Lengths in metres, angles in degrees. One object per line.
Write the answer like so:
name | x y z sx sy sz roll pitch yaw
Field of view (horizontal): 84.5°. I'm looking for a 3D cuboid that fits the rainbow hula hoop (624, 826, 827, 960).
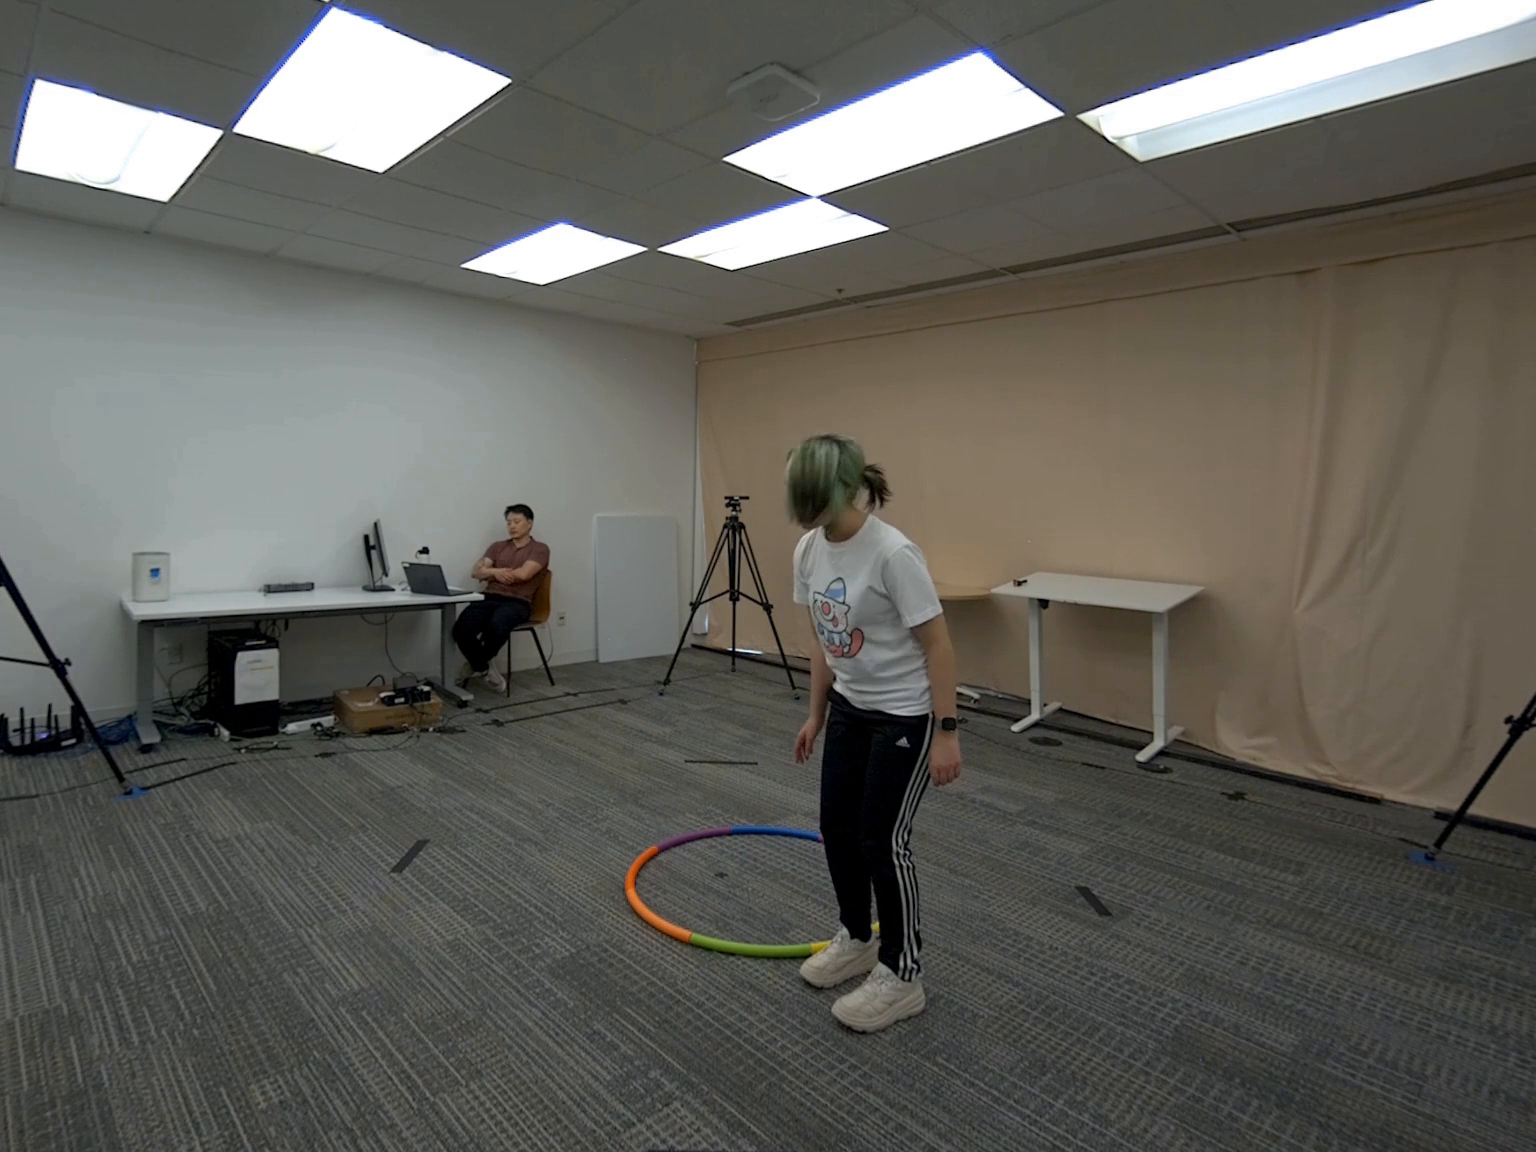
rainbow hula hoop | -0.018 1.082 3.026 0.978 0.035 0.982 1 5 -1
